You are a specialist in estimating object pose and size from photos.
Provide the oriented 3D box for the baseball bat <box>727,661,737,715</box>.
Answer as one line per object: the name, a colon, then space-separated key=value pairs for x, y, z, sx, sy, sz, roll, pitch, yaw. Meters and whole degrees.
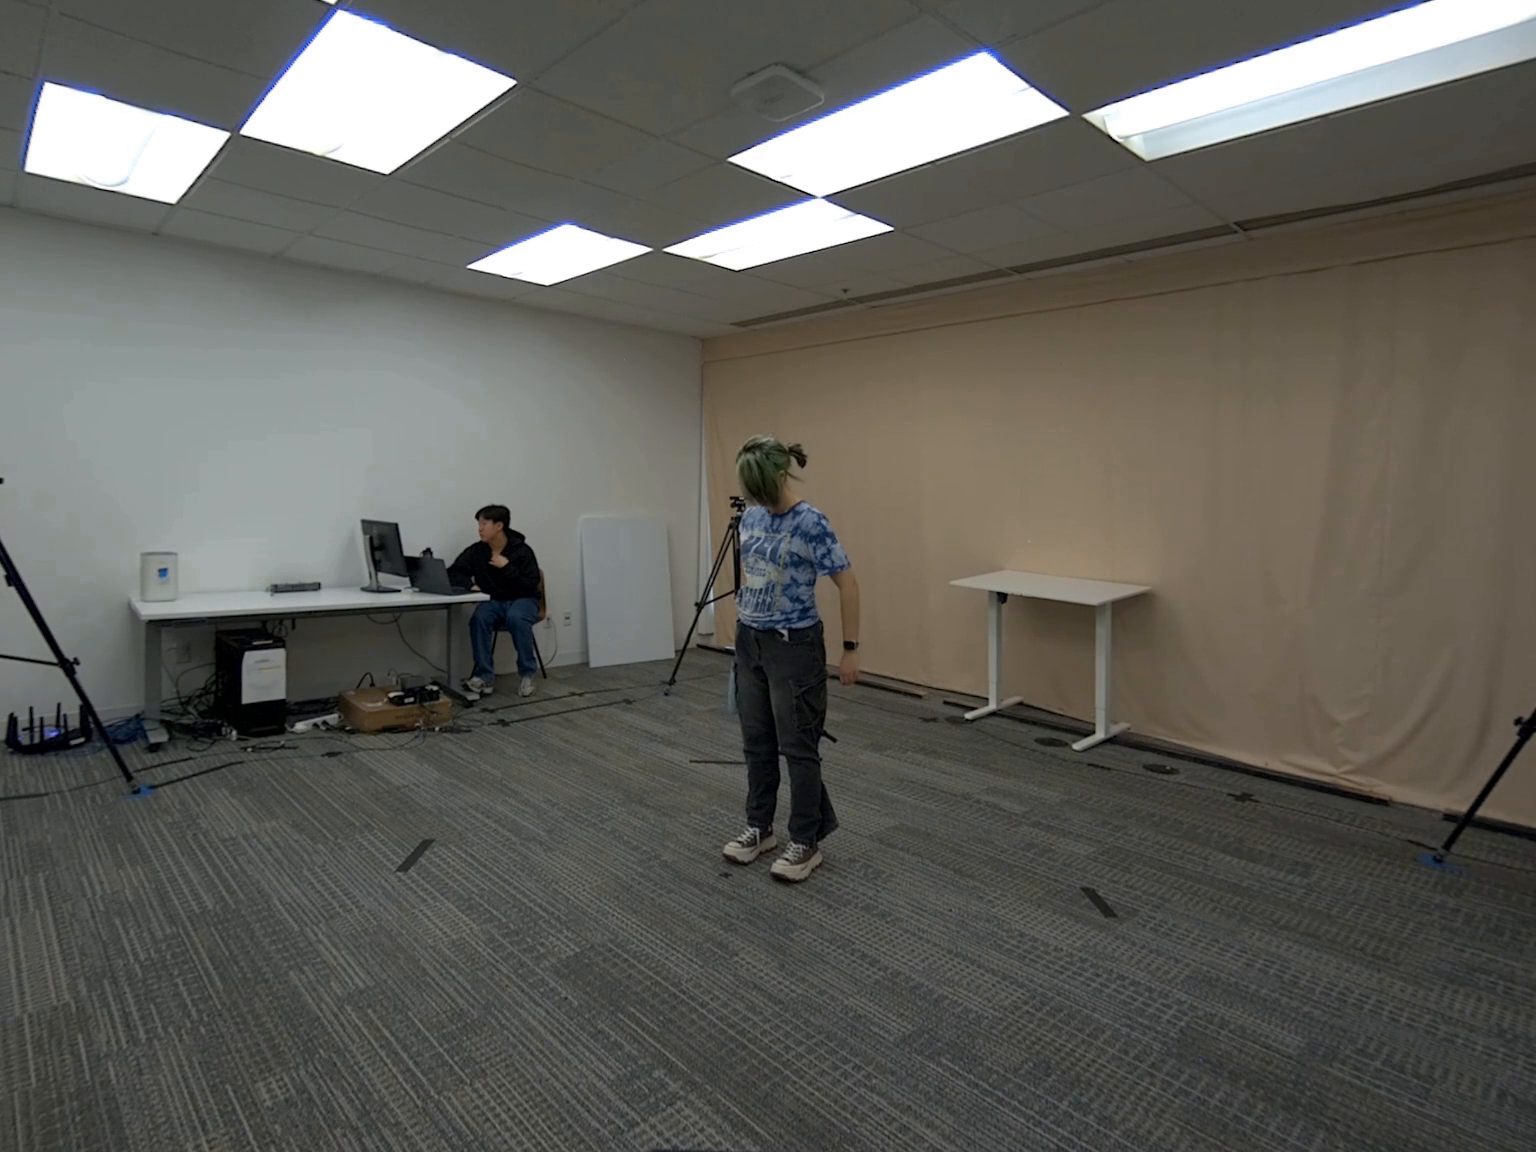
baseball bat: x=-0.112 y=0.343 z=3.499 sx=0.089 sy=0.534 sz=0.090 roll=2 pitch=26 yaw=-2
